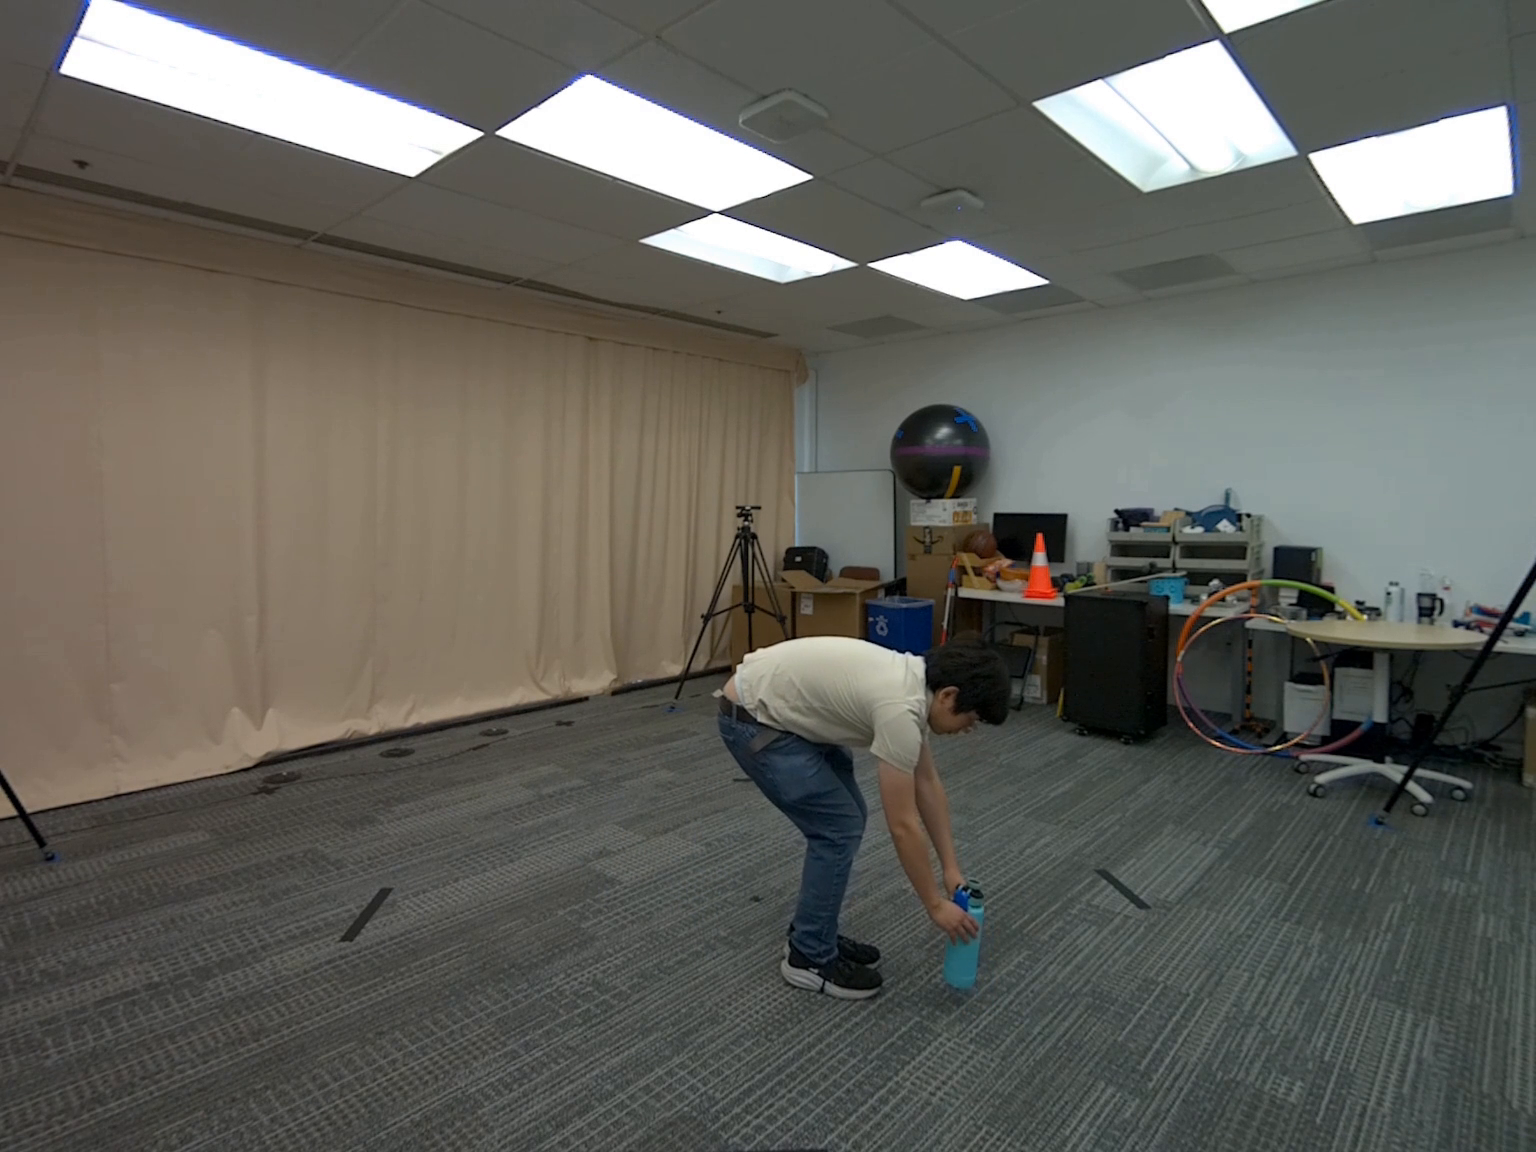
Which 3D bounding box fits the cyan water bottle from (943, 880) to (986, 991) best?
[{"bbox_3d":[0.555,1.005,2.350,0.092,0.282,0.093,6,5,-2],"label":"cyan water bottle"}]
